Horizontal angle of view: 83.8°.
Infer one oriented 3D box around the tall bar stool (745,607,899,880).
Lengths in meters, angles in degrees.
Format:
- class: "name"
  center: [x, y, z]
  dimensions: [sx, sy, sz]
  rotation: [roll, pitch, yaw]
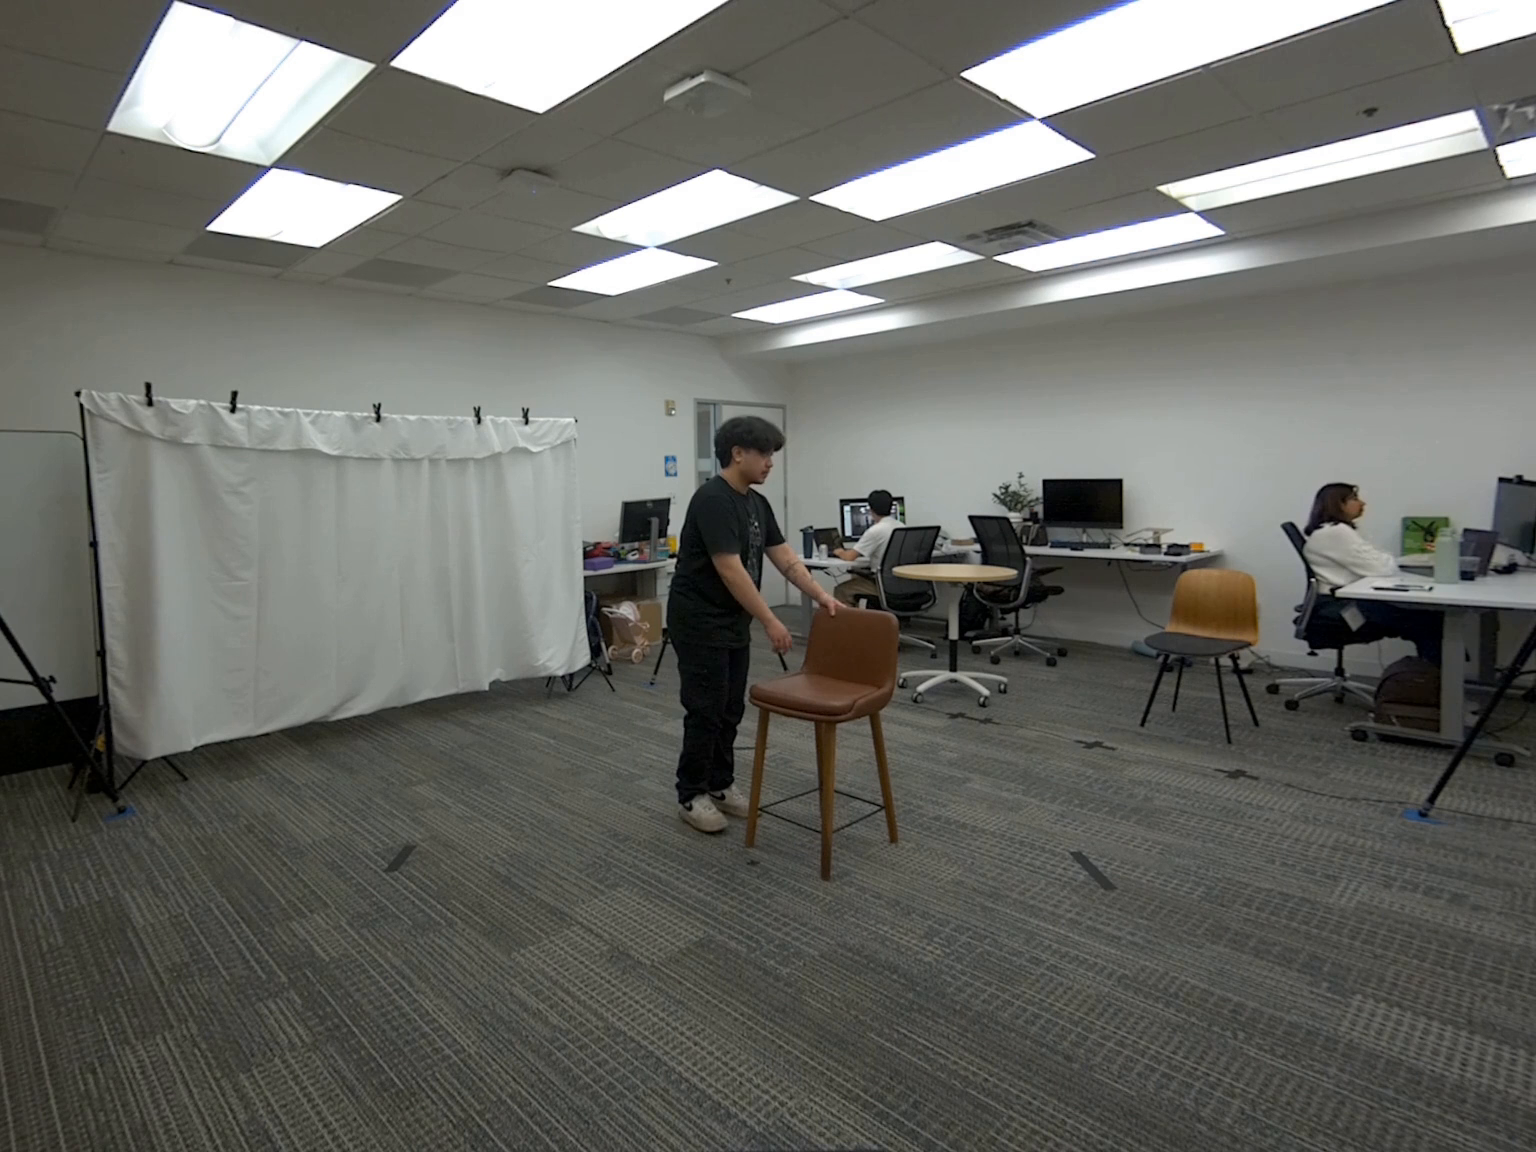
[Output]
- class: "tall bar stool"
  center: [0.215, 0.583, 3.226]
  dimensions: [0.454, 0.888, 0.470]
  rotation: [-1, 3, -44]
